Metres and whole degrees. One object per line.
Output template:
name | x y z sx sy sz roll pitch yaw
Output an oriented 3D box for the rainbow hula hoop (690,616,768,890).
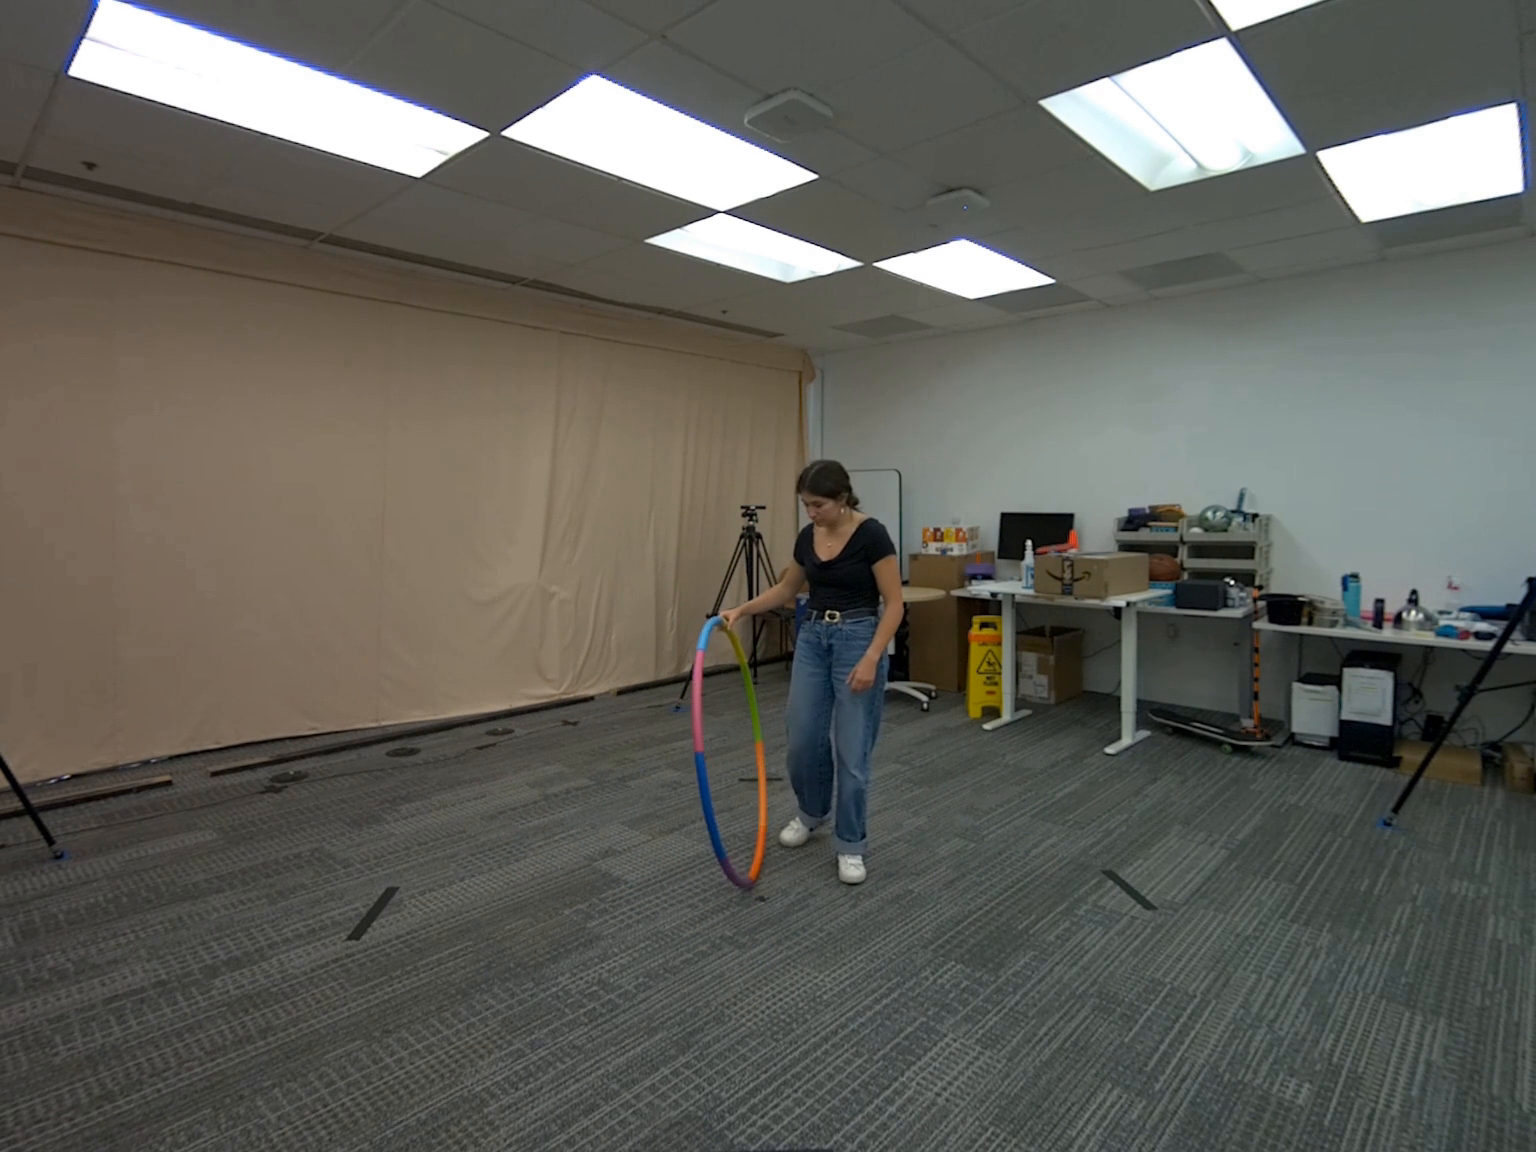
rainbow hula hoop | -0.119 0.648 3.158 0.036 0.977 0.969 -8 2 10
